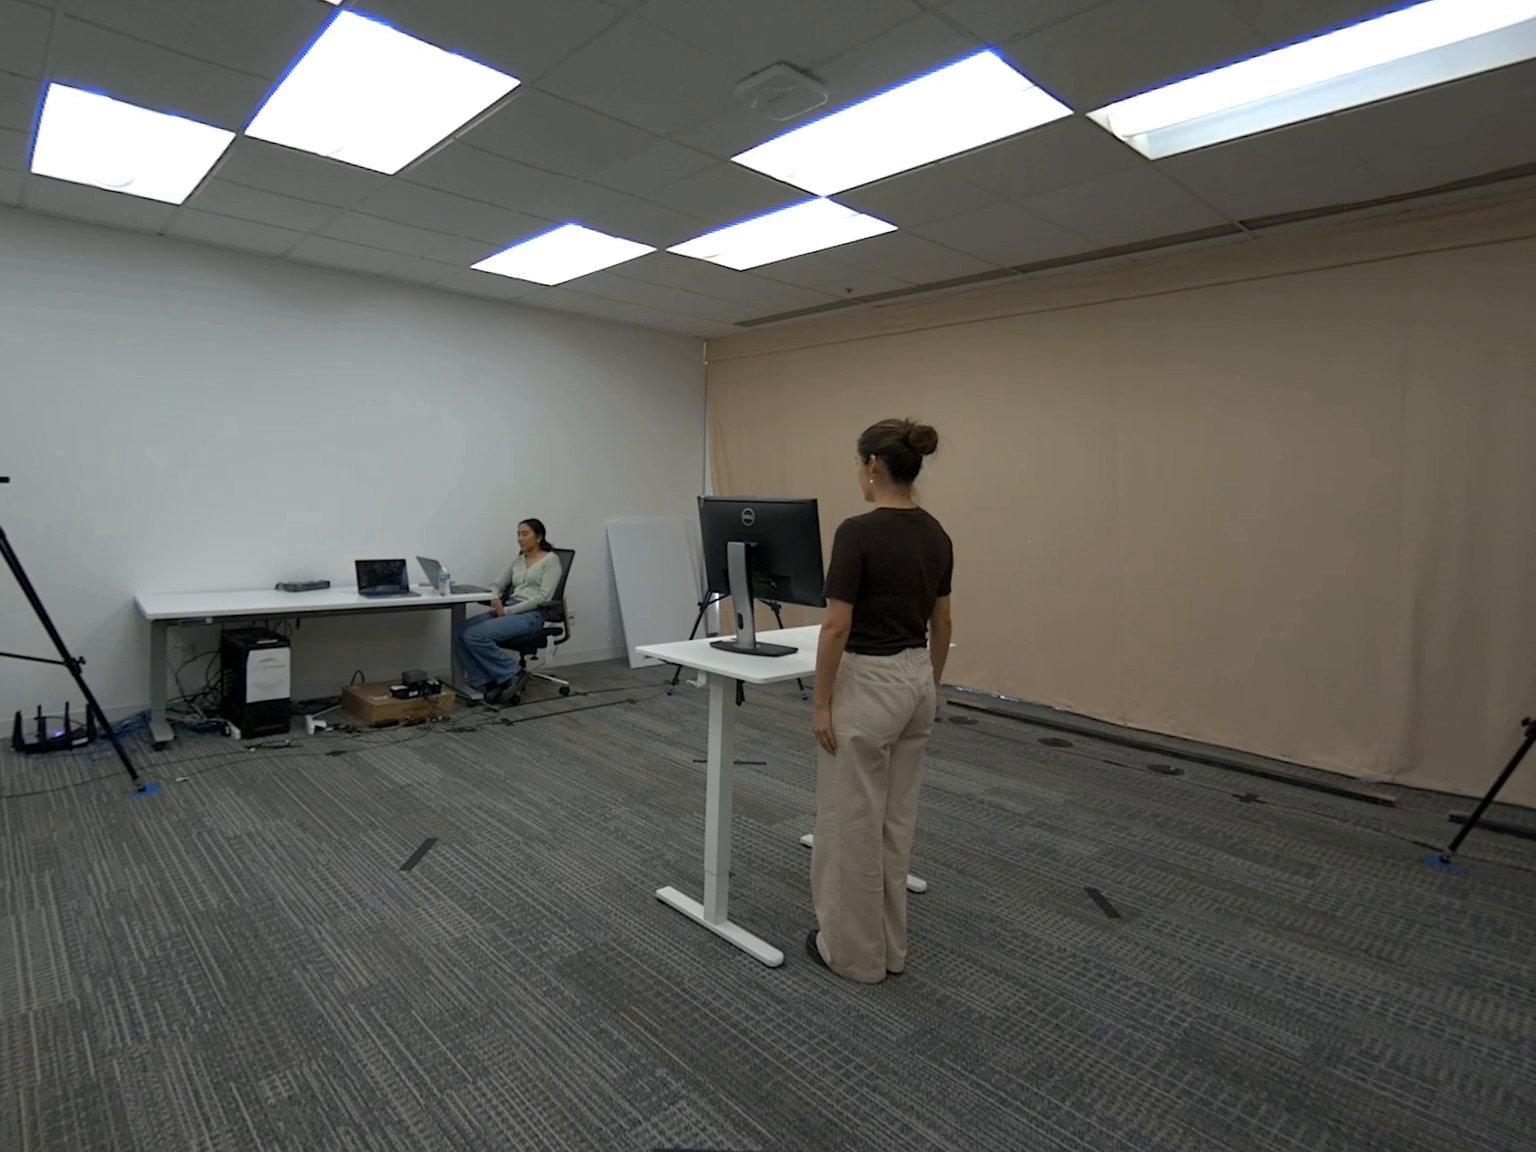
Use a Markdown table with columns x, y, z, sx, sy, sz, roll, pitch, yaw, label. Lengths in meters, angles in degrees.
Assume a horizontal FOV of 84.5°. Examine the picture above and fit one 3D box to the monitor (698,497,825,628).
| x | y | z | sx | sy | sz | roll | pitch | yaw | label |
| --- | --- | --- | --- | --- | --- | --- | --- | --- | --- |
| -0.054 | -0.002 | 2.798 | 0.553 | 0.521 | 0.183 | 6 | 4 | 44 | monitor |
